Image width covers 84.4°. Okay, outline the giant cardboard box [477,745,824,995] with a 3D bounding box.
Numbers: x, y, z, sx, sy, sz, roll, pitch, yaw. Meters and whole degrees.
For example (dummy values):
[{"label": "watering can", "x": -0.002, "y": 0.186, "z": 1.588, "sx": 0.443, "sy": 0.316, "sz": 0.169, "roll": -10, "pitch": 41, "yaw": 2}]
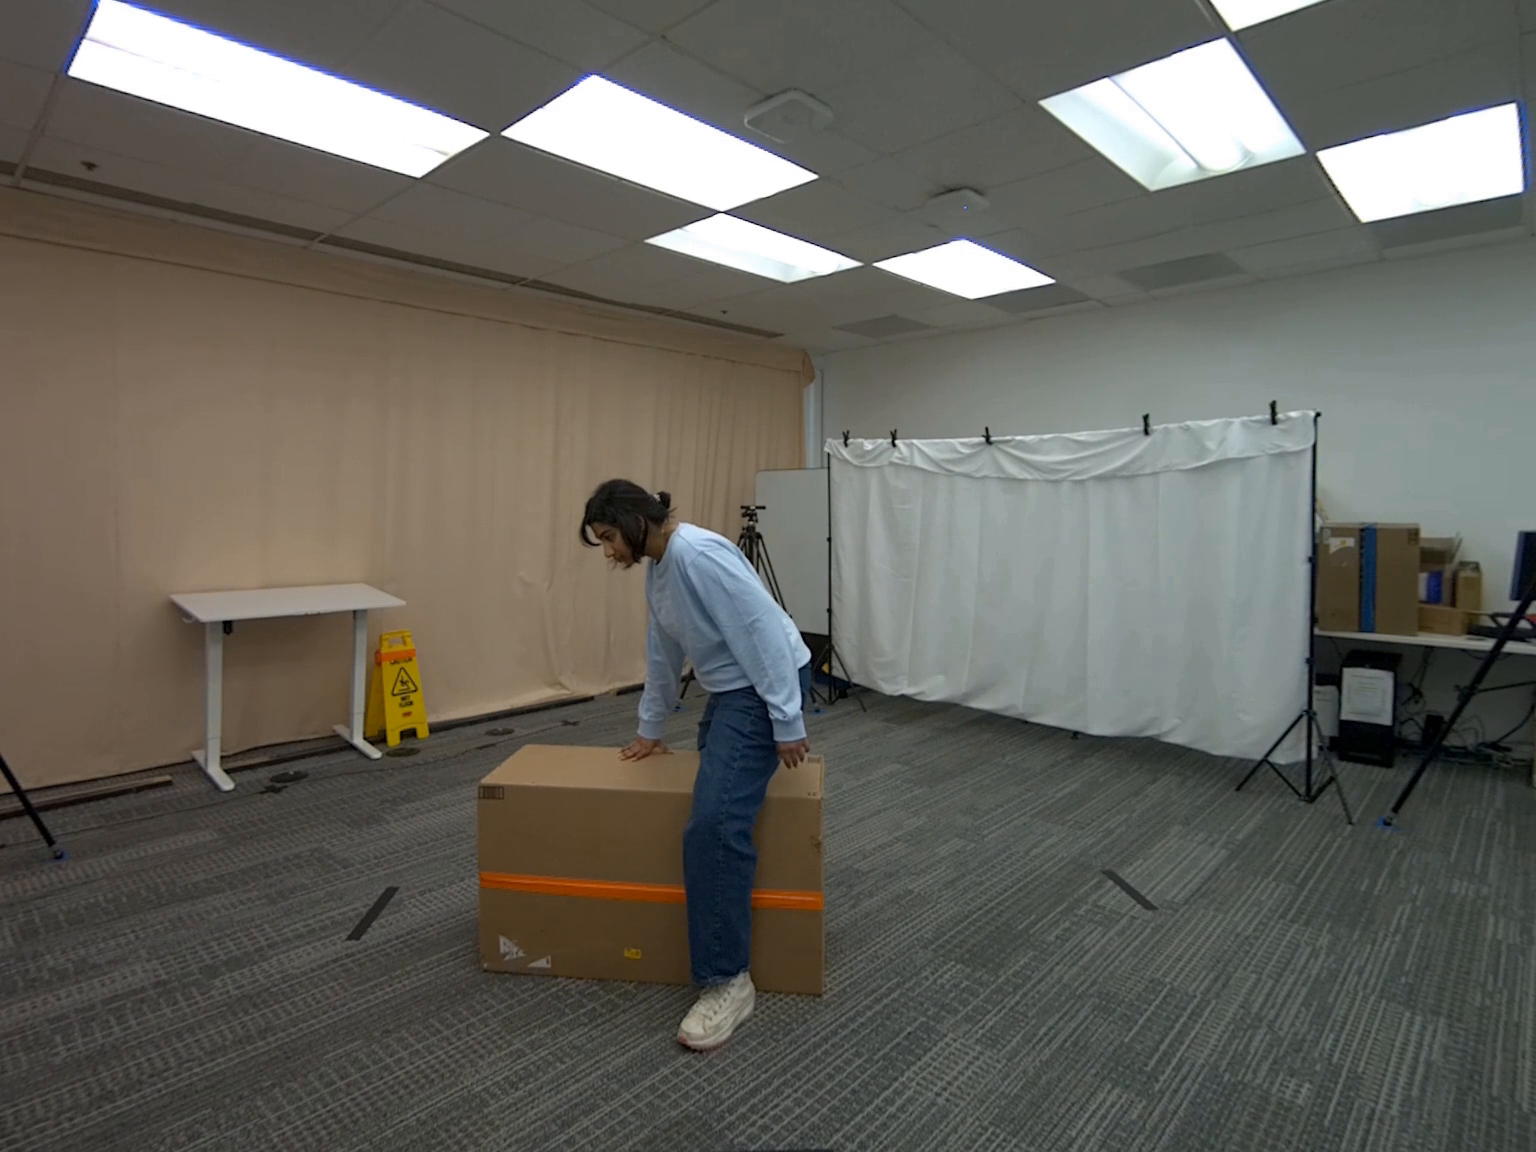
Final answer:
[{"label": "giant cardboard box", "x": -0.341, "y": 0.887, "z": 2.644, "sx": 1.034, "sy": 0.576, "sz": 0.424, "roll": 1, "pitch": 4, "yaw": 7}]
